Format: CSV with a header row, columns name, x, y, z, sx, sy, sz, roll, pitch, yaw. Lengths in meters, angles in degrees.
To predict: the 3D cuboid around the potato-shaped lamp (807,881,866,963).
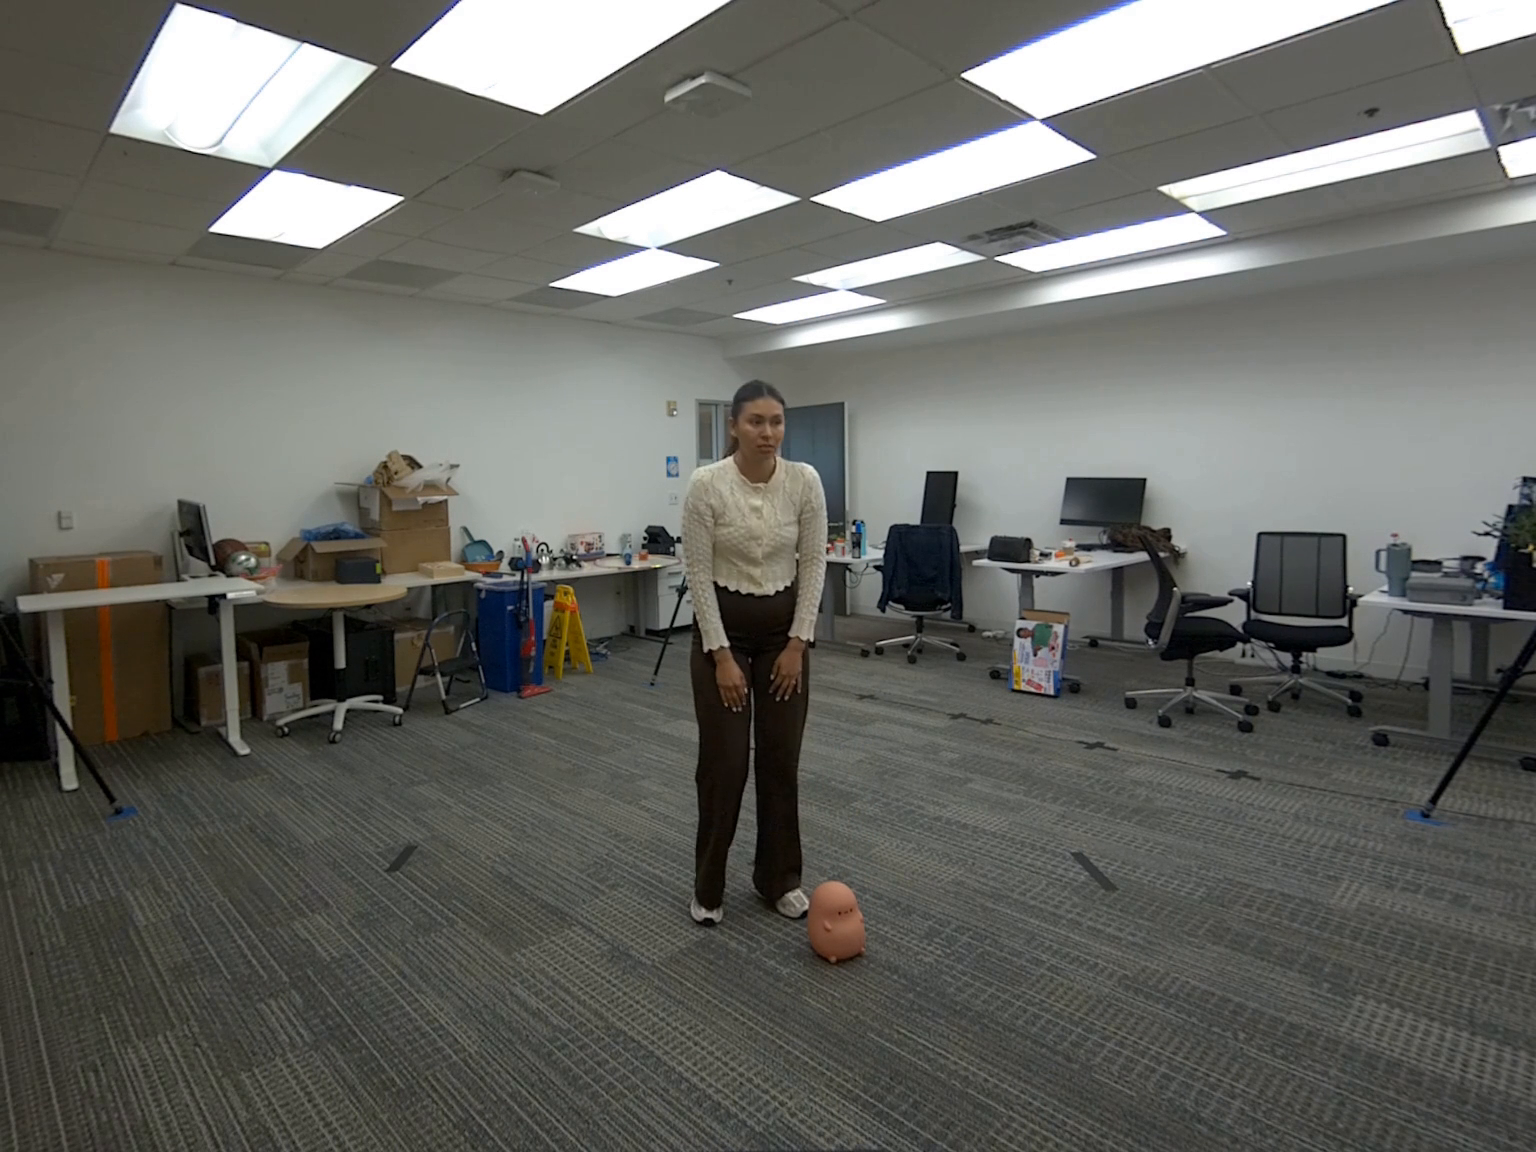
name,x,y,z,sx,sy,sz,roll,pitch,yaw
potato-shaped lamp,0.200,1.000,2.524,0.161,0.198,0.175,-2,-1,-24
